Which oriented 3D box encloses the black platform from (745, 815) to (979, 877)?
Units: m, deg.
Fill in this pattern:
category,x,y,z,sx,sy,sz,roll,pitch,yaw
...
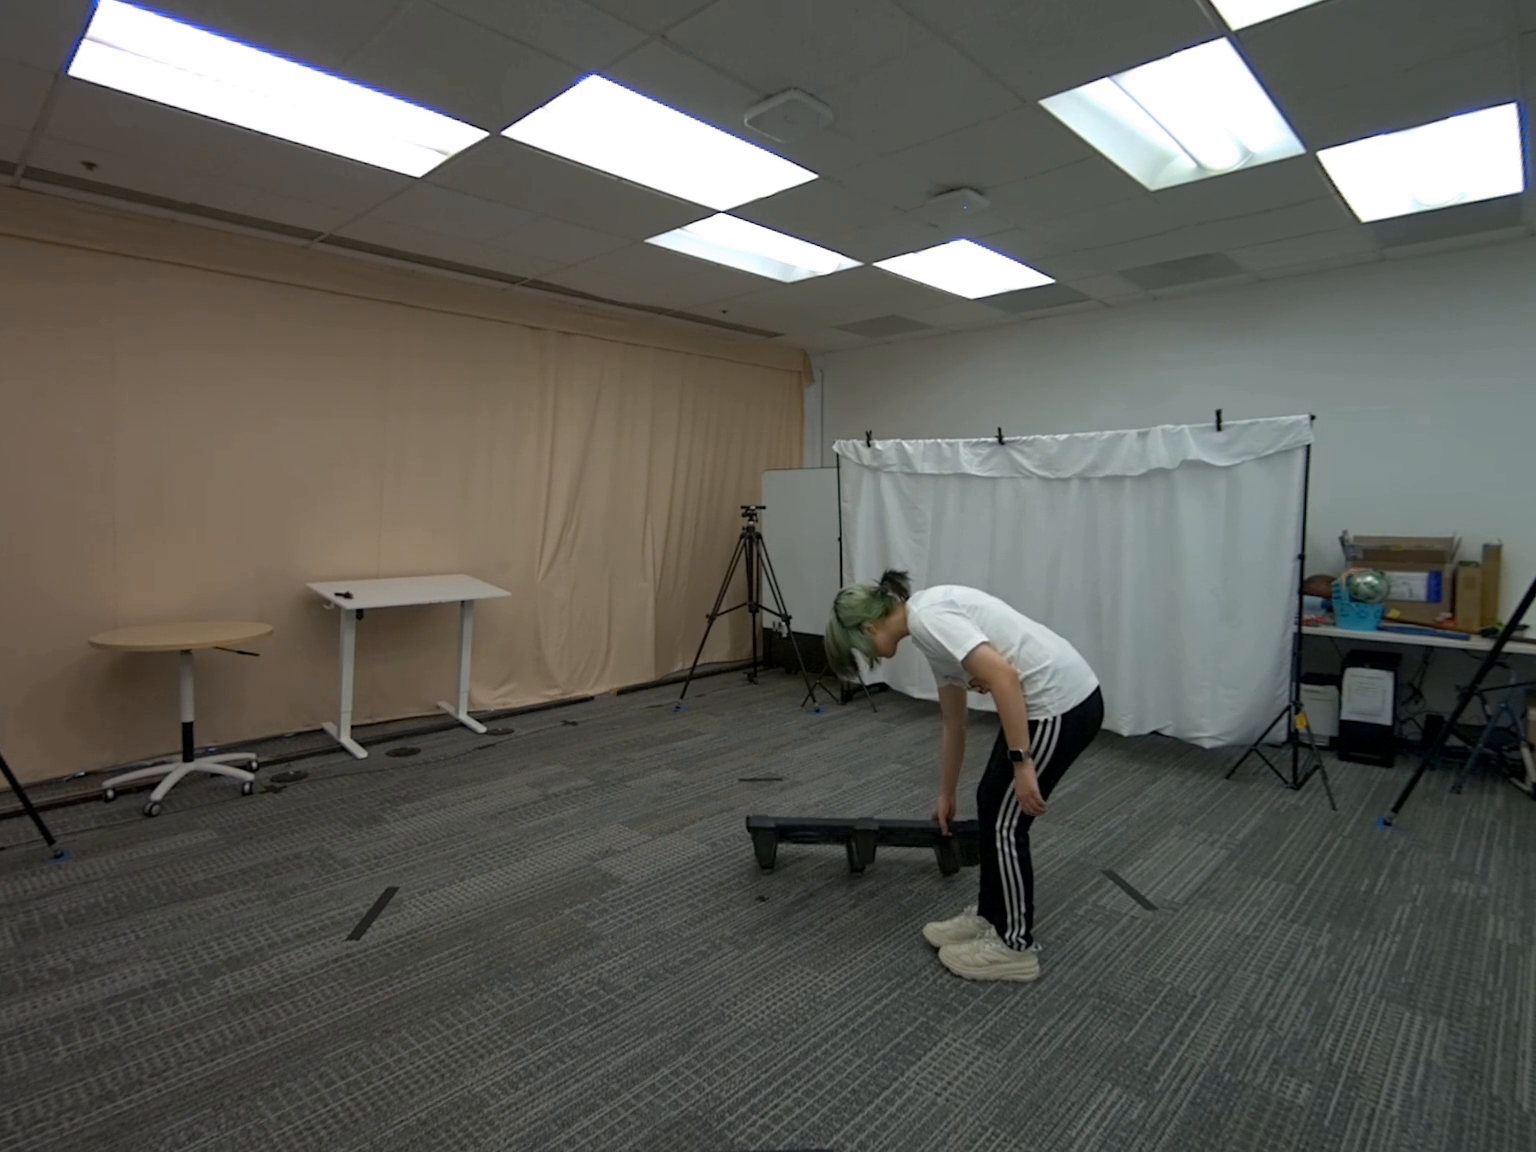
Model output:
category,x,y,z,sx,sy,sz,roll,pitch,yaw
black platform,0.329,0.977,3.023,0.810,0.145,0.594,1,-24,4
